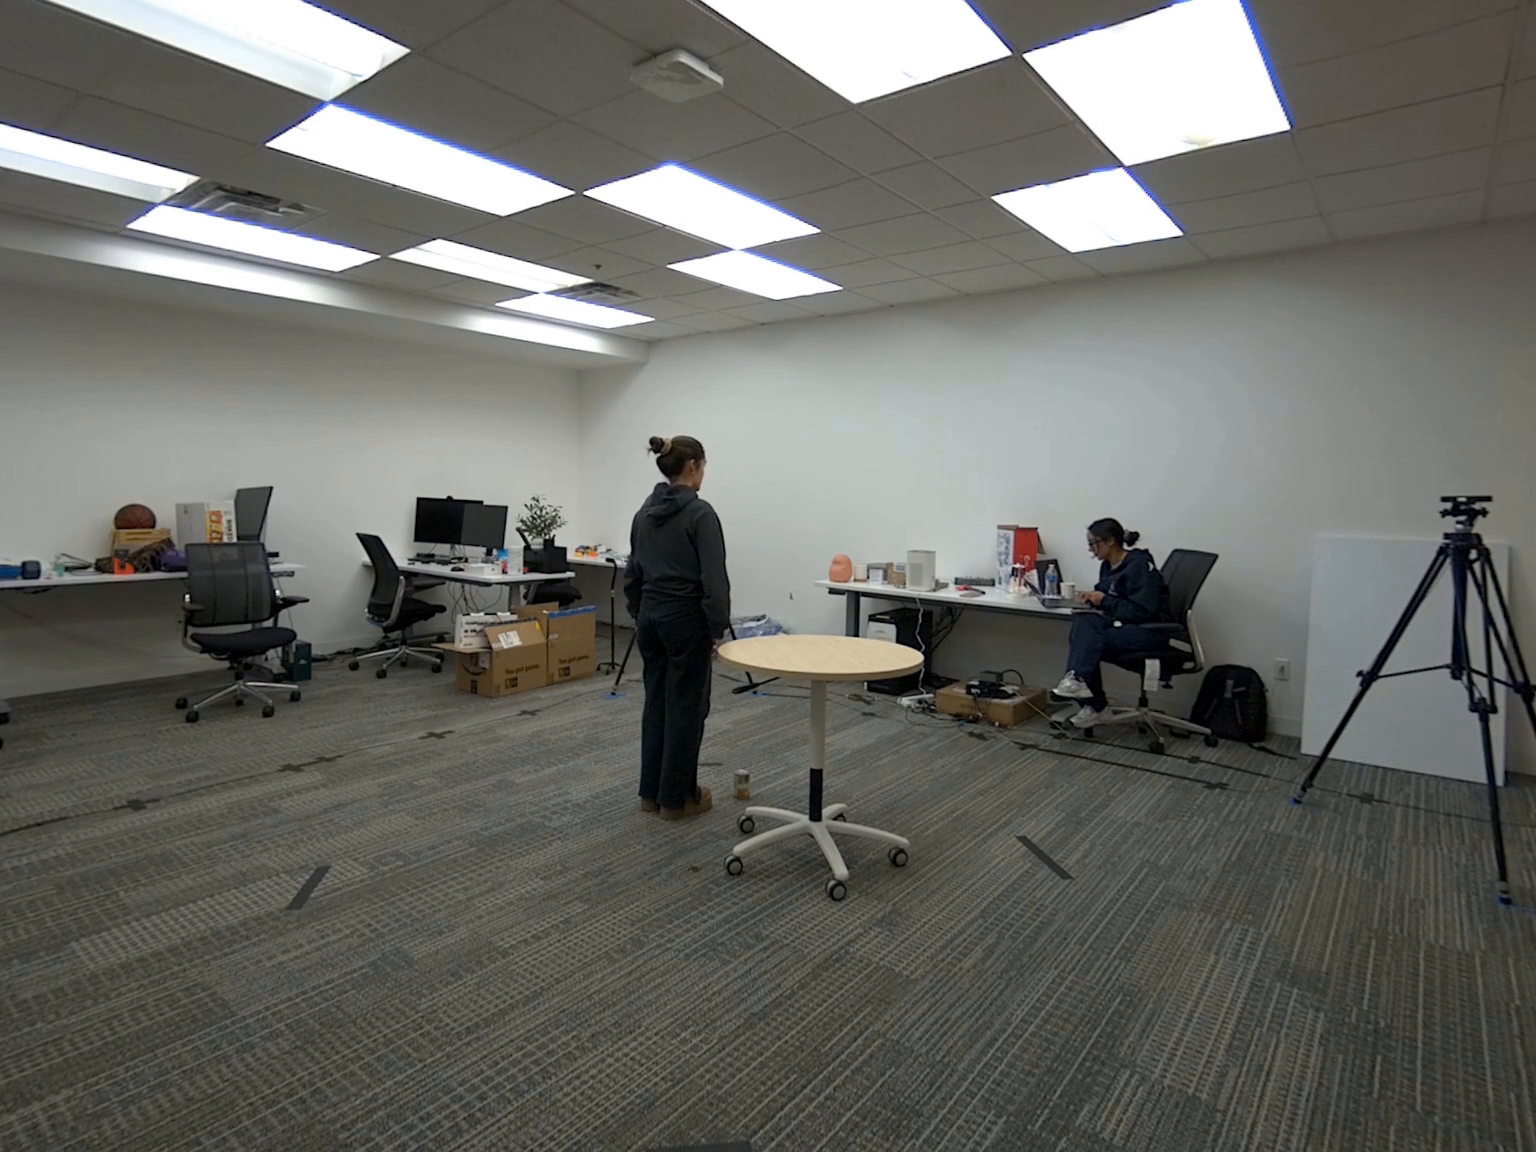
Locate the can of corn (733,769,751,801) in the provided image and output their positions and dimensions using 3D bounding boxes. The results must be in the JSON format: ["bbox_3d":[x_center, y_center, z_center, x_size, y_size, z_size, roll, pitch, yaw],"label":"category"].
[{"bbox_3d":[-0.122,0.945,3.857,0.074,0.110,0.074,0,4,-2],"label":"can of corn"}]
